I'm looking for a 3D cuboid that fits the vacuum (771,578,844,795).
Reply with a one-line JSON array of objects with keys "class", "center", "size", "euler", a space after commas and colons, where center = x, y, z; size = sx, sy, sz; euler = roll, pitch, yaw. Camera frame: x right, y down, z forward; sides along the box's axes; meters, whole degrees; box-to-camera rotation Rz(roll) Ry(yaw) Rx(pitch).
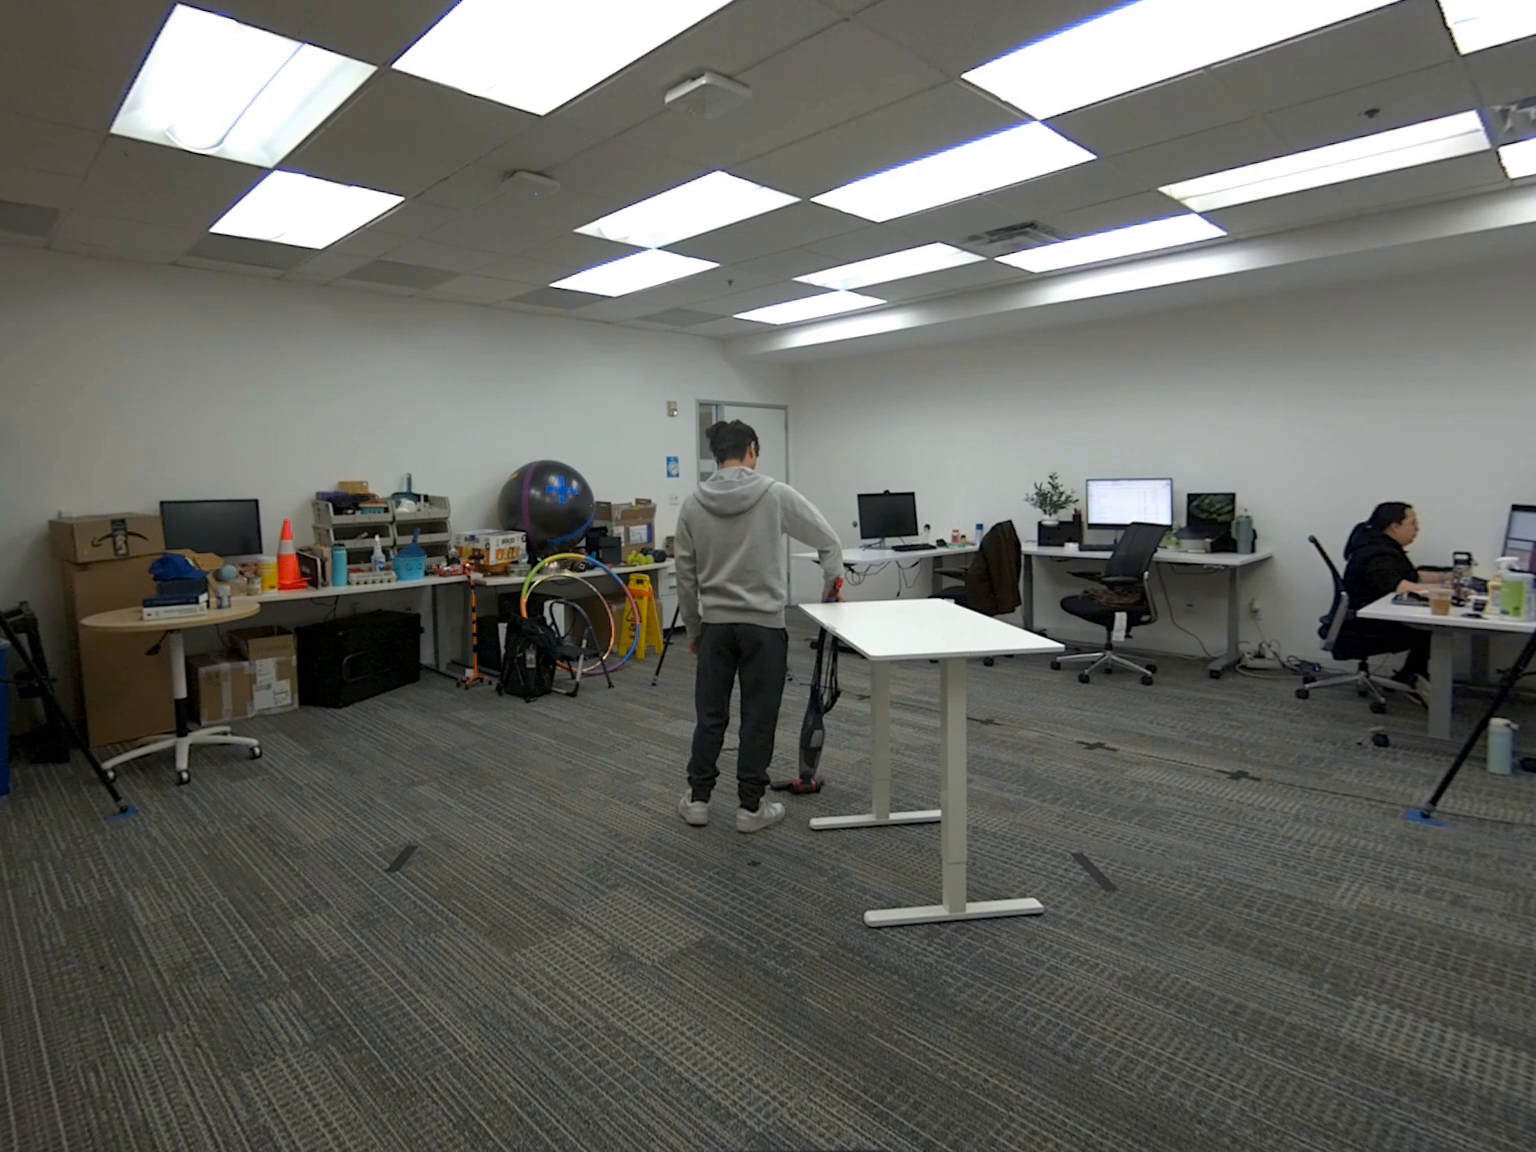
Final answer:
[{"class": "vacuum", "center": [0.220, 0.490, 3.653], "size": [0.247, 1.032, 0.149], "euler": [-1, 25, -23]}]
